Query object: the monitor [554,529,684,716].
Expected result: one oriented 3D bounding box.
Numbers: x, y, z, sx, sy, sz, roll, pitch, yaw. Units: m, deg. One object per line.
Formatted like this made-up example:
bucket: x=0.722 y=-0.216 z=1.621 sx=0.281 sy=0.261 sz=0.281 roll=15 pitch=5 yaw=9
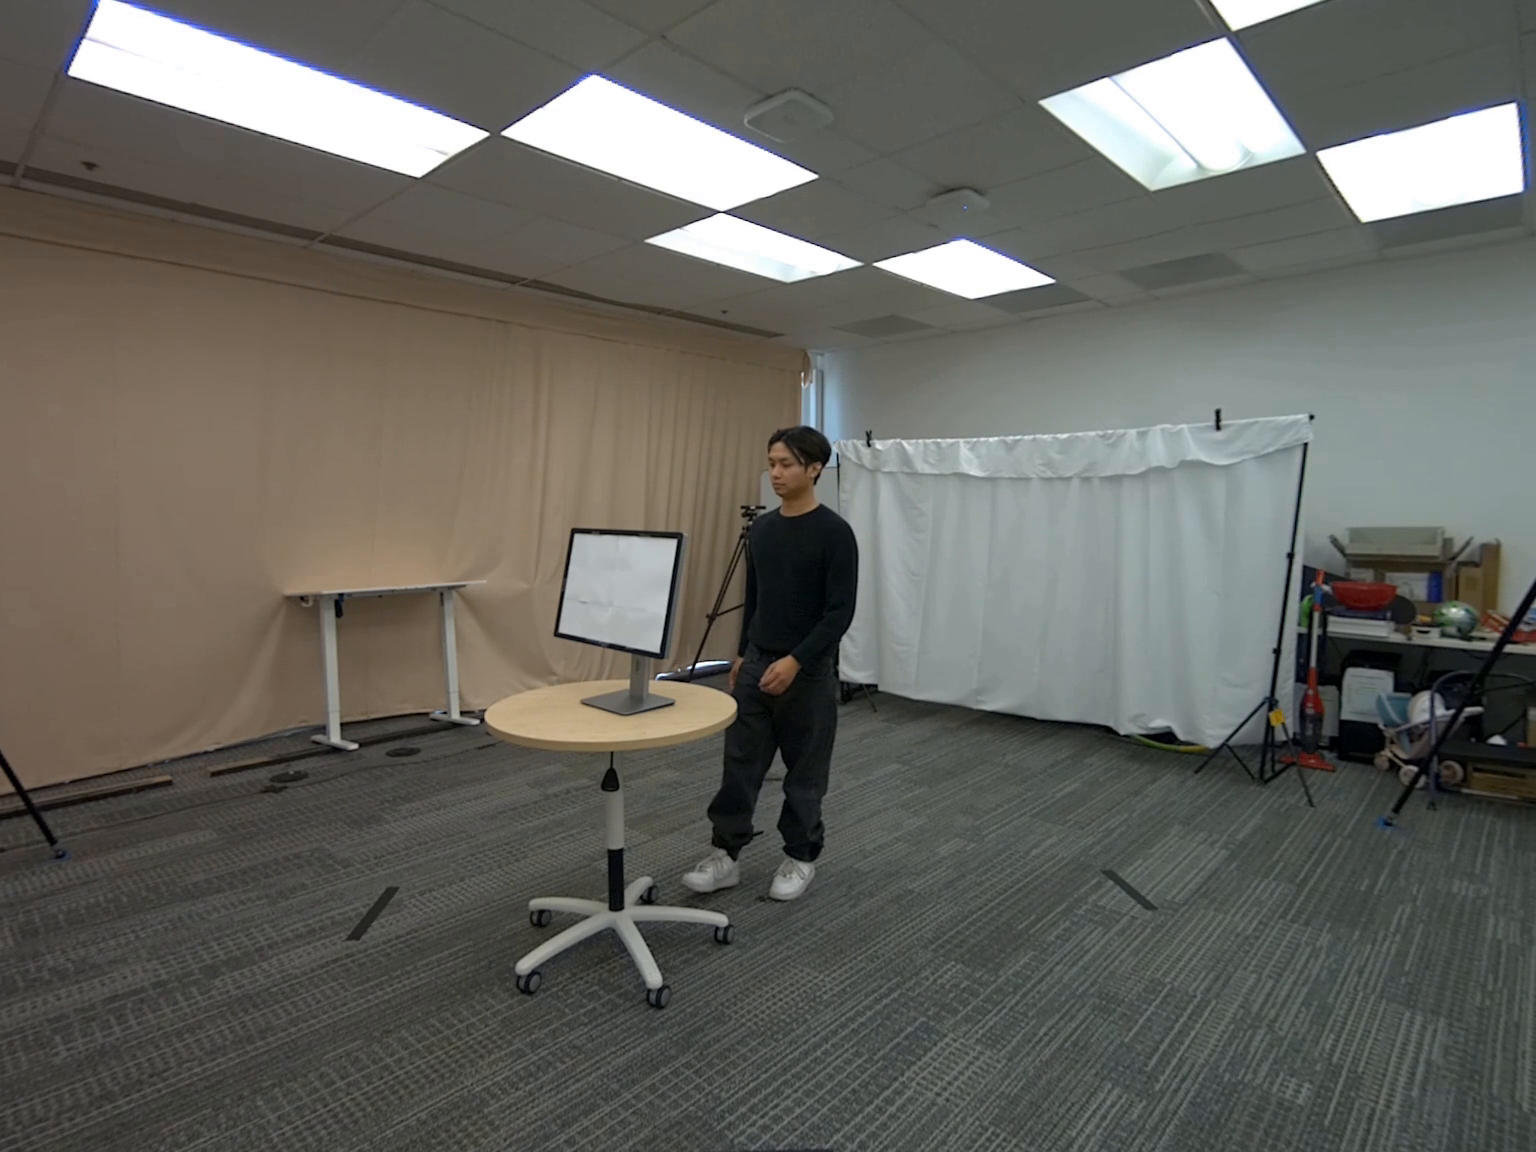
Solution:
monitor: x=-0.442 y=0.131 z=2.601 sx=0.548 sy=0.513 sz=0.169 roll=6 pitch=10 yaw=44
